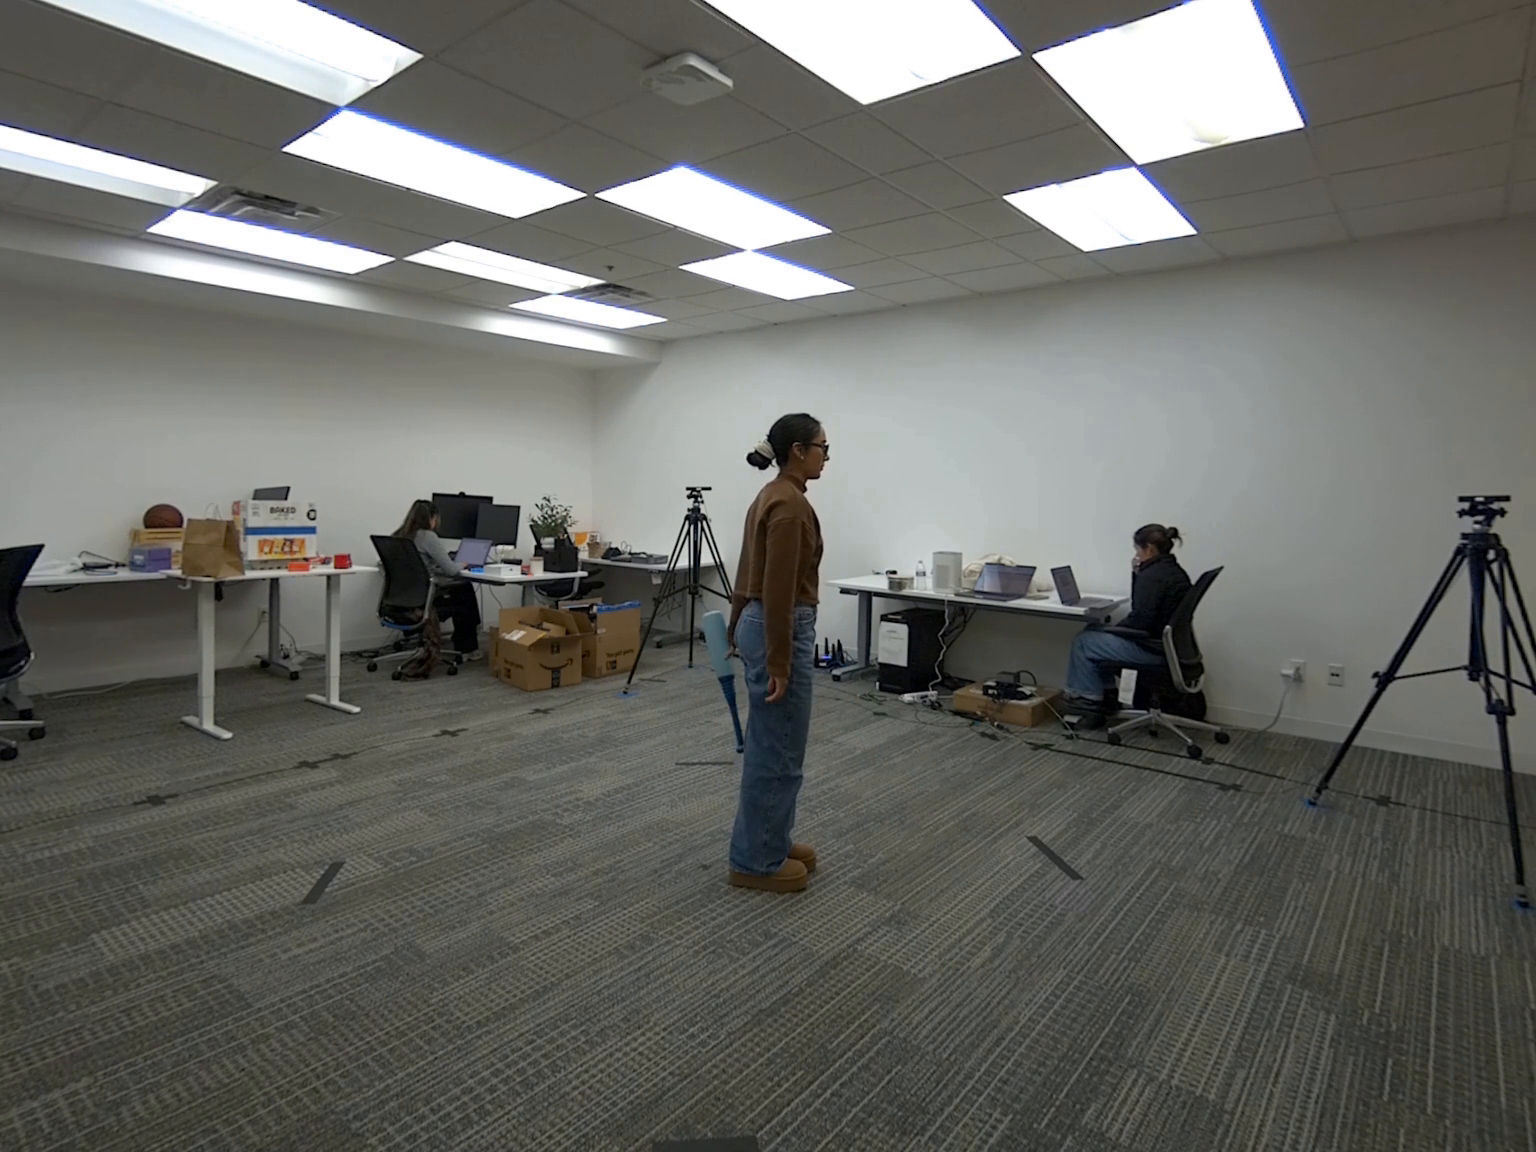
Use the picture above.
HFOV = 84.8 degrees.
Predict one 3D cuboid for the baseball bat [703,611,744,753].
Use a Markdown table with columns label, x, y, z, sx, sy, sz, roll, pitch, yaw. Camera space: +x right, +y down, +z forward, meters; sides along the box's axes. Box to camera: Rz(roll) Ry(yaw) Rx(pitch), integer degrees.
| label | x | y | z | sx | sy | sz | roll | pitch | yaw |
| --- | --- | --- | --- | --- | --- | --- | --- | --- | --- |
| baseball bat | -0.155 | 0.404 | 3.255 | 0.089 | 0.550 | 0.088 | -13 | -11 | -4 |
